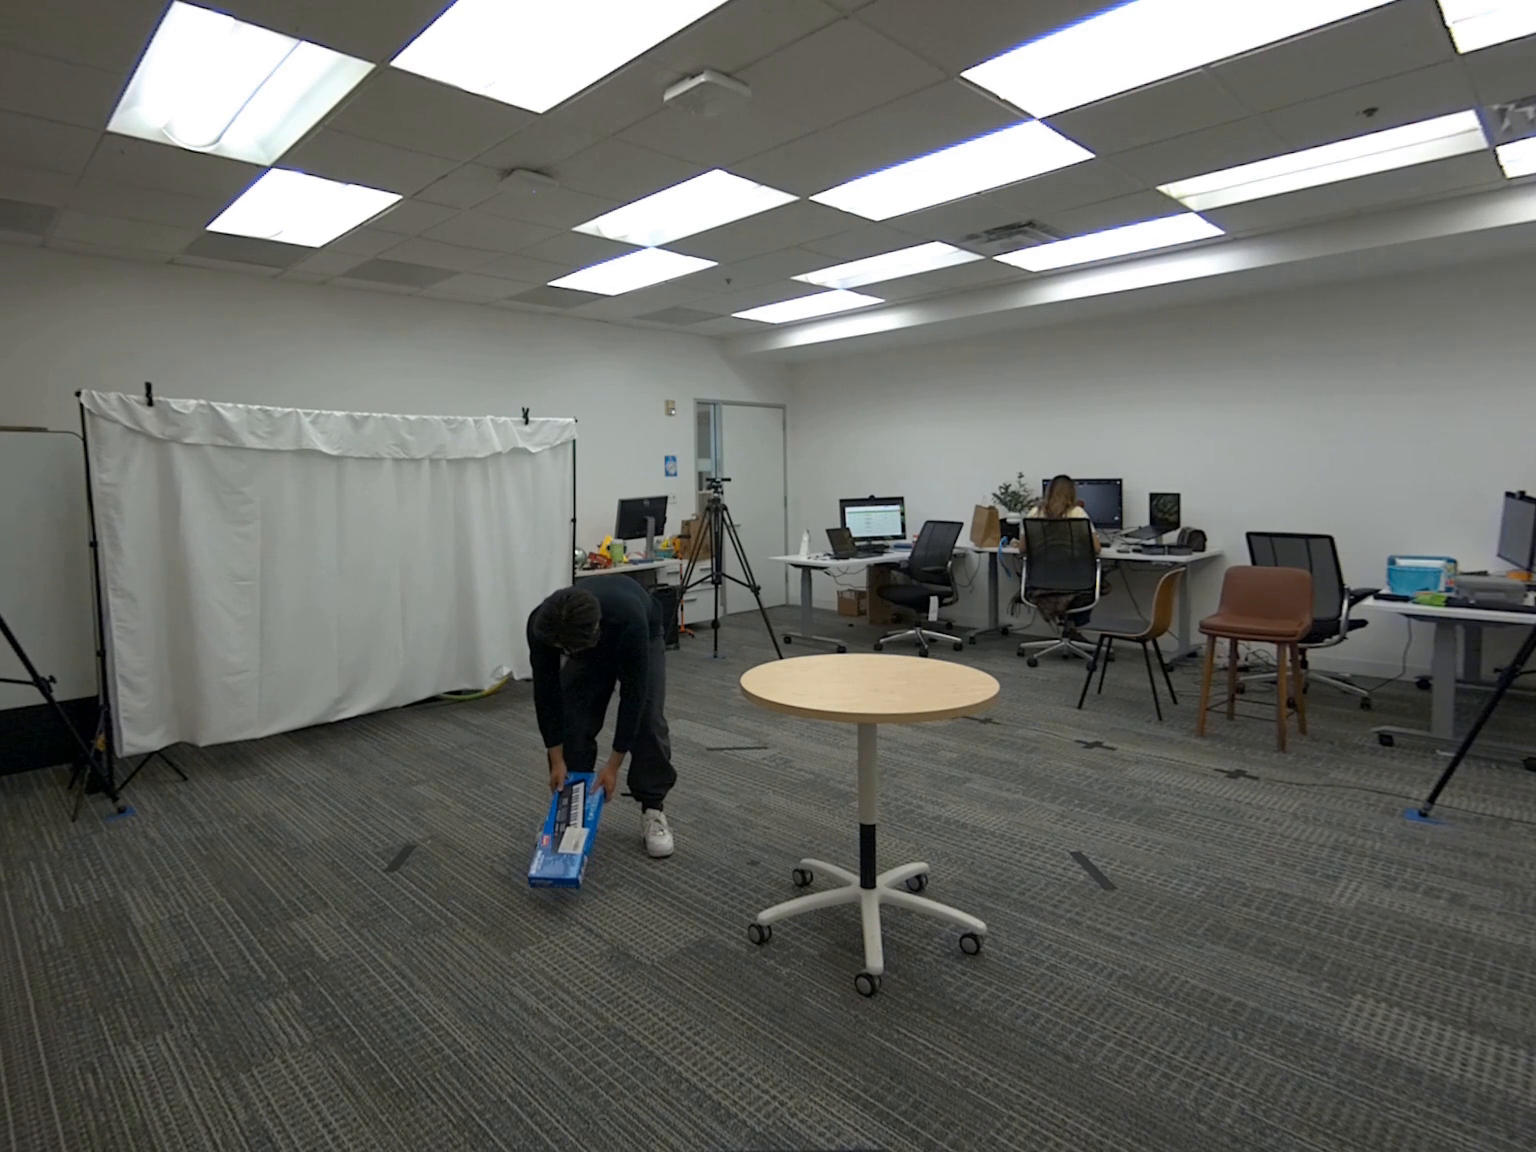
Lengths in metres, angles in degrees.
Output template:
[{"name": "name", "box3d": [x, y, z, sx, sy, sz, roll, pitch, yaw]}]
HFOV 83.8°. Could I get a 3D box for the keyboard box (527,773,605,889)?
[{"name": "keyboard box", "box3d": [-0.685, 0.879, 2.977, 0.177, 0.057, 0.446, -2, 36, 7]}]
